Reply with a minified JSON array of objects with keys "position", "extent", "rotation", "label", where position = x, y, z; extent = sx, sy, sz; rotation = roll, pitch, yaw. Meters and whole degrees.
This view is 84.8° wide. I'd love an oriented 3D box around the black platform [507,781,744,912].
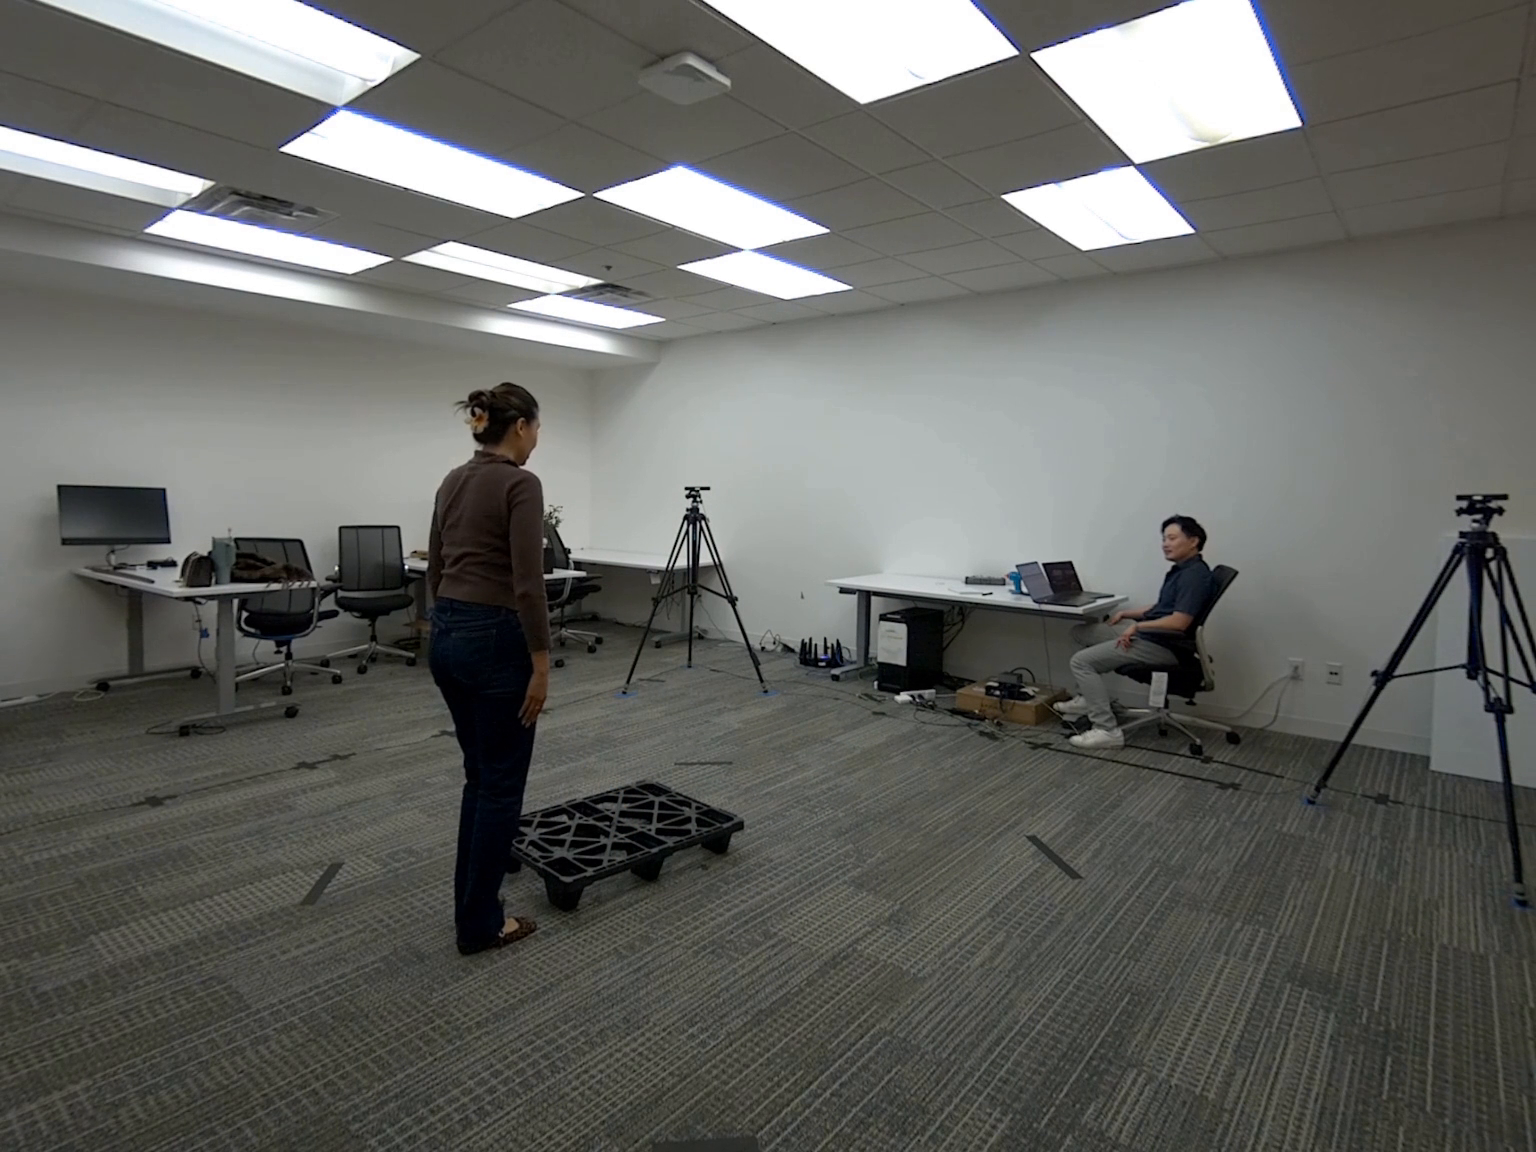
[{"position":[-0.578,0.988,3.182],"extent":[0.782,0.143,0.626],"rotation":[-5,9,-44],"label":"black platform"}]
